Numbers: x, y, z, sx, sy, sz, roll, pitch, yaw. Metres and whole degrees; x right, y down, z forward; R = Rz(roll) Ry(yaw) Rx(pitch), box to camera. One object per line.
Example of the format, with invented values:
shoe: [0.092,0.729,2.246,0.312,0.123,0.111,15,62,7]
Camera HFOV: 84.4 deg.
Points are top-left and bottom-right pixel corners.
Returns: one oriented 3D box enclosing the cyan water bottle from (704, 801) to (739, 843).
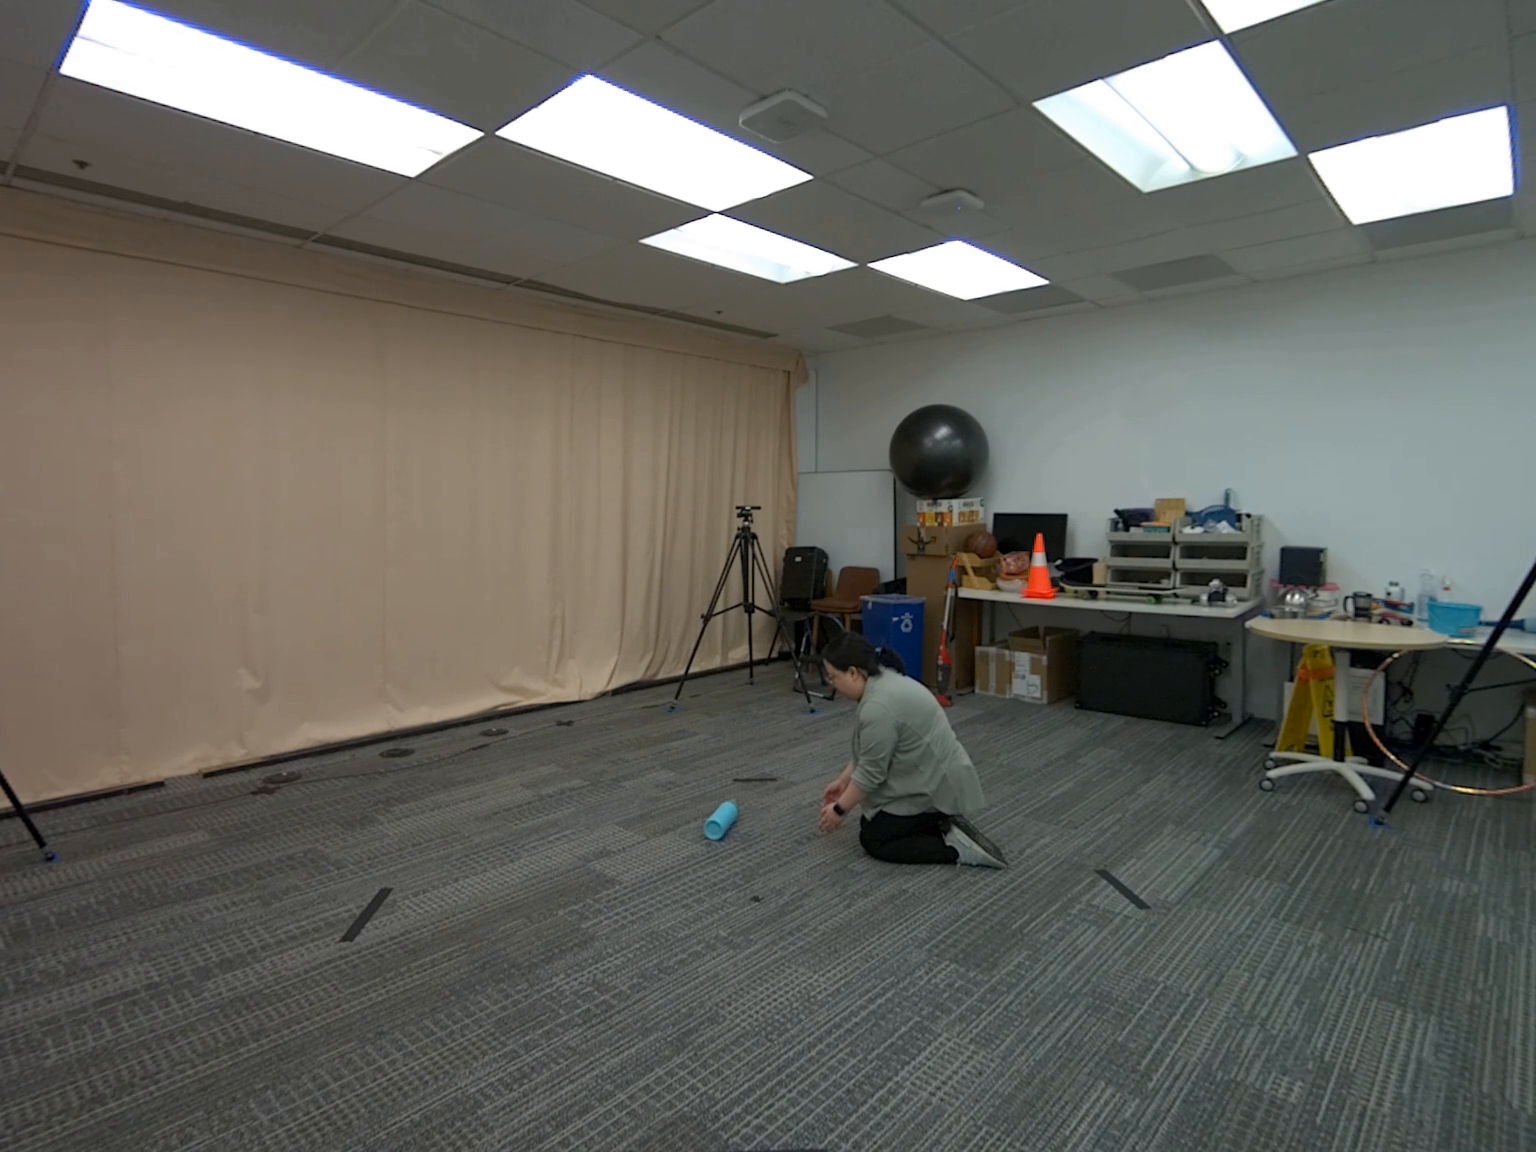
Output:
cyan water bottle: [-0.192,1.046,3.641,0.094,0.092,0.279,1,5,14]
